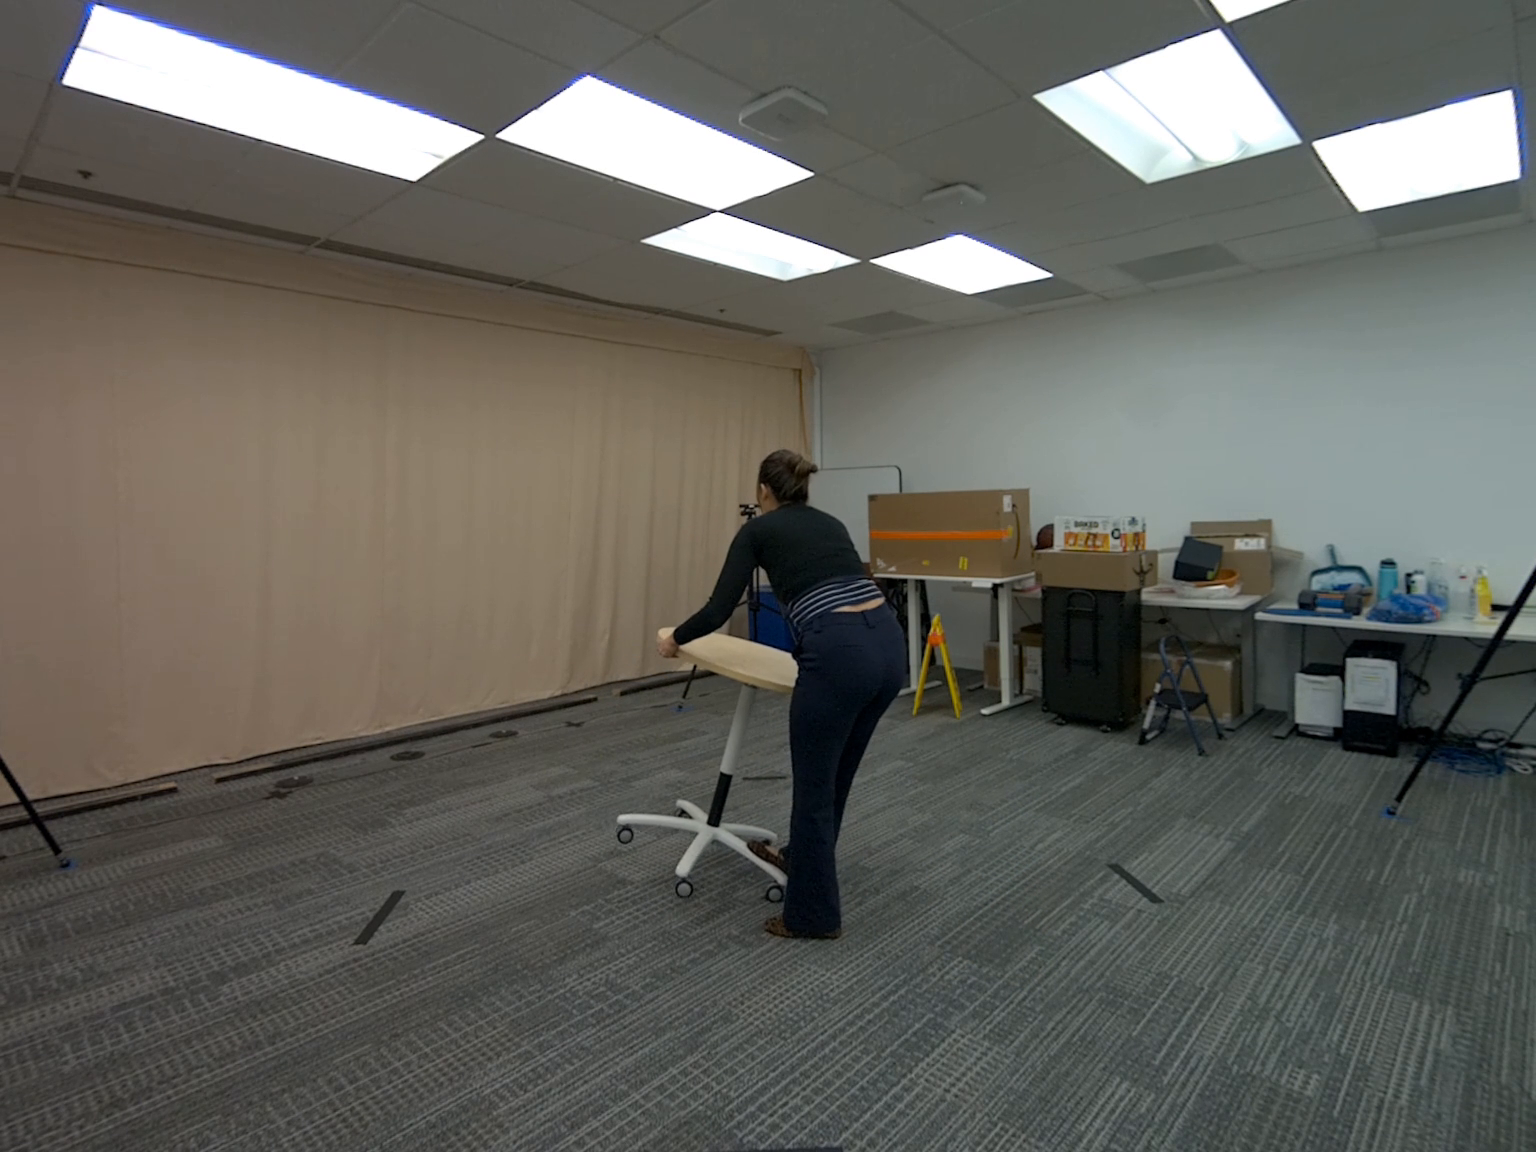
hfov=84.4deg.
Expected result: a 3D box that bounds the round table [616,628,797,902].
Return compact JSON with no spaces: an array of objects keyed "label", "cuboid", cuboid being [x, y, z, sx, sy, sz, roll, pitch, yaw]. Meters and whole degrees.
[{"label":"round table","cuboid":[-0.141,0.686,3.126,0.763,0.793,0.766,15,3,-3]}]
